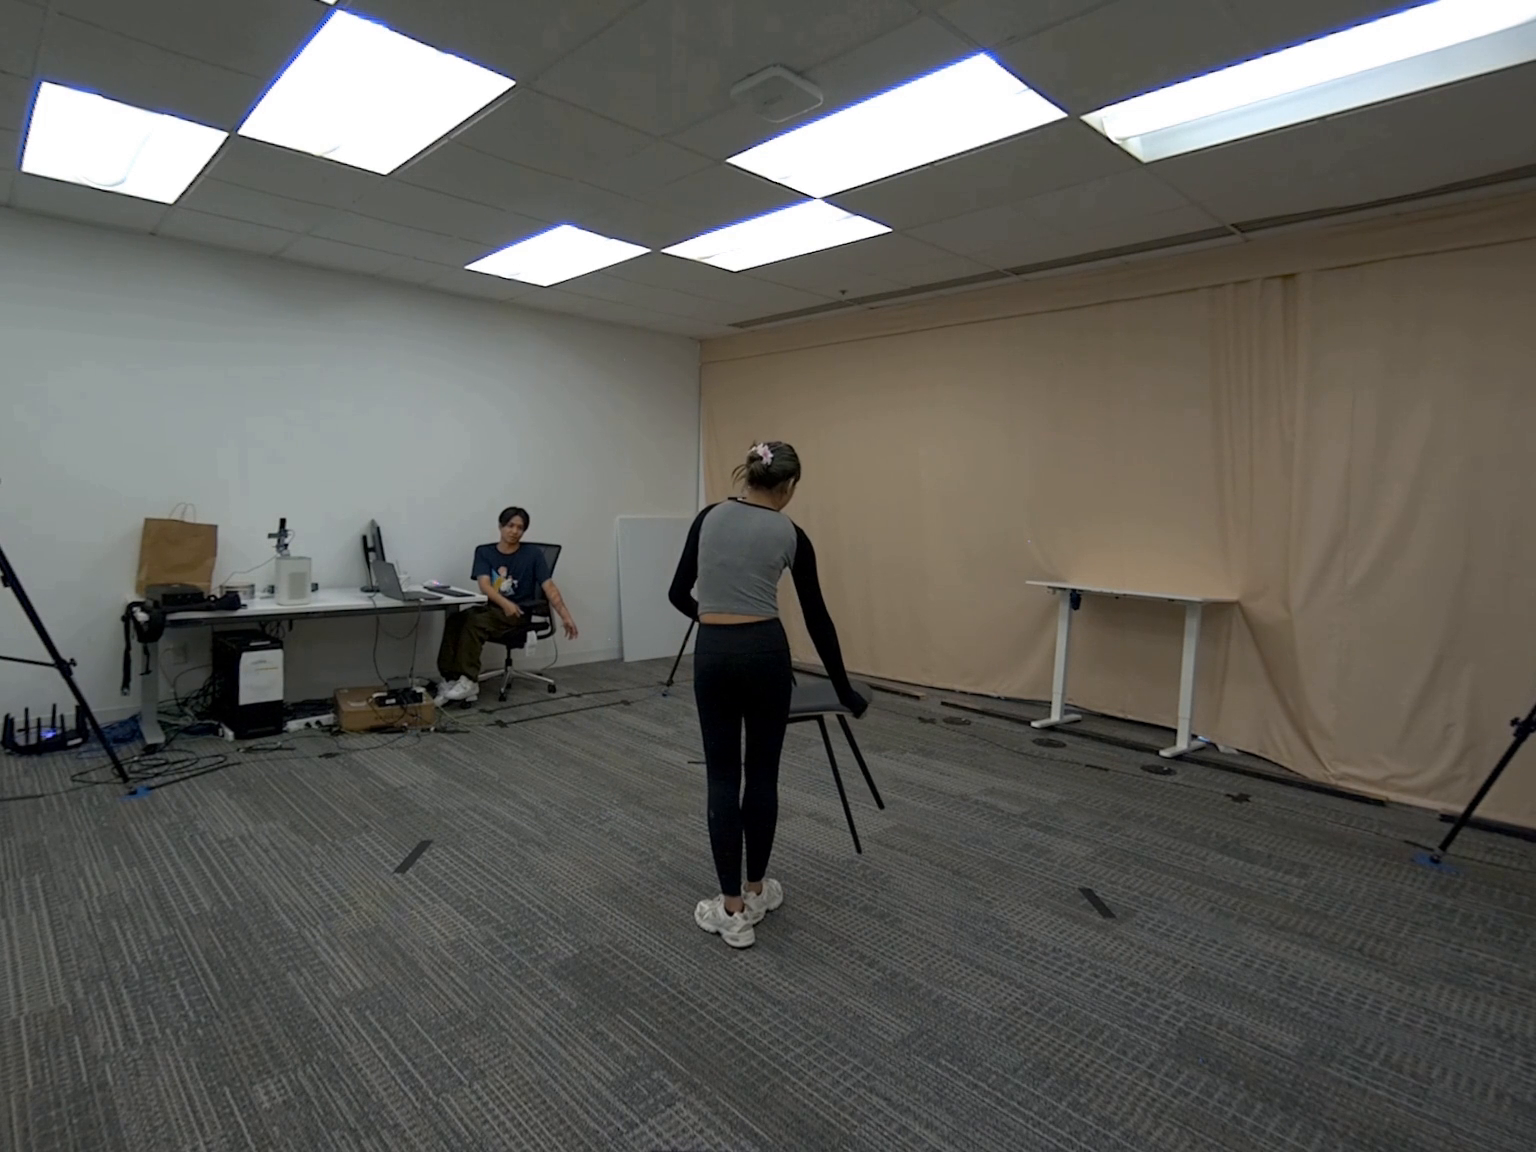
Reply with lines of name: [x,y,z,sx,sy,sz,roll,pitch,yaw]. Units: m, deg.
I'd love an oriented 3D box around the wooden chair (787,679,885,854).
wooden chair: [0.104,0.508,3.052,0.530,0.879,0.471,-12,-1,21]
